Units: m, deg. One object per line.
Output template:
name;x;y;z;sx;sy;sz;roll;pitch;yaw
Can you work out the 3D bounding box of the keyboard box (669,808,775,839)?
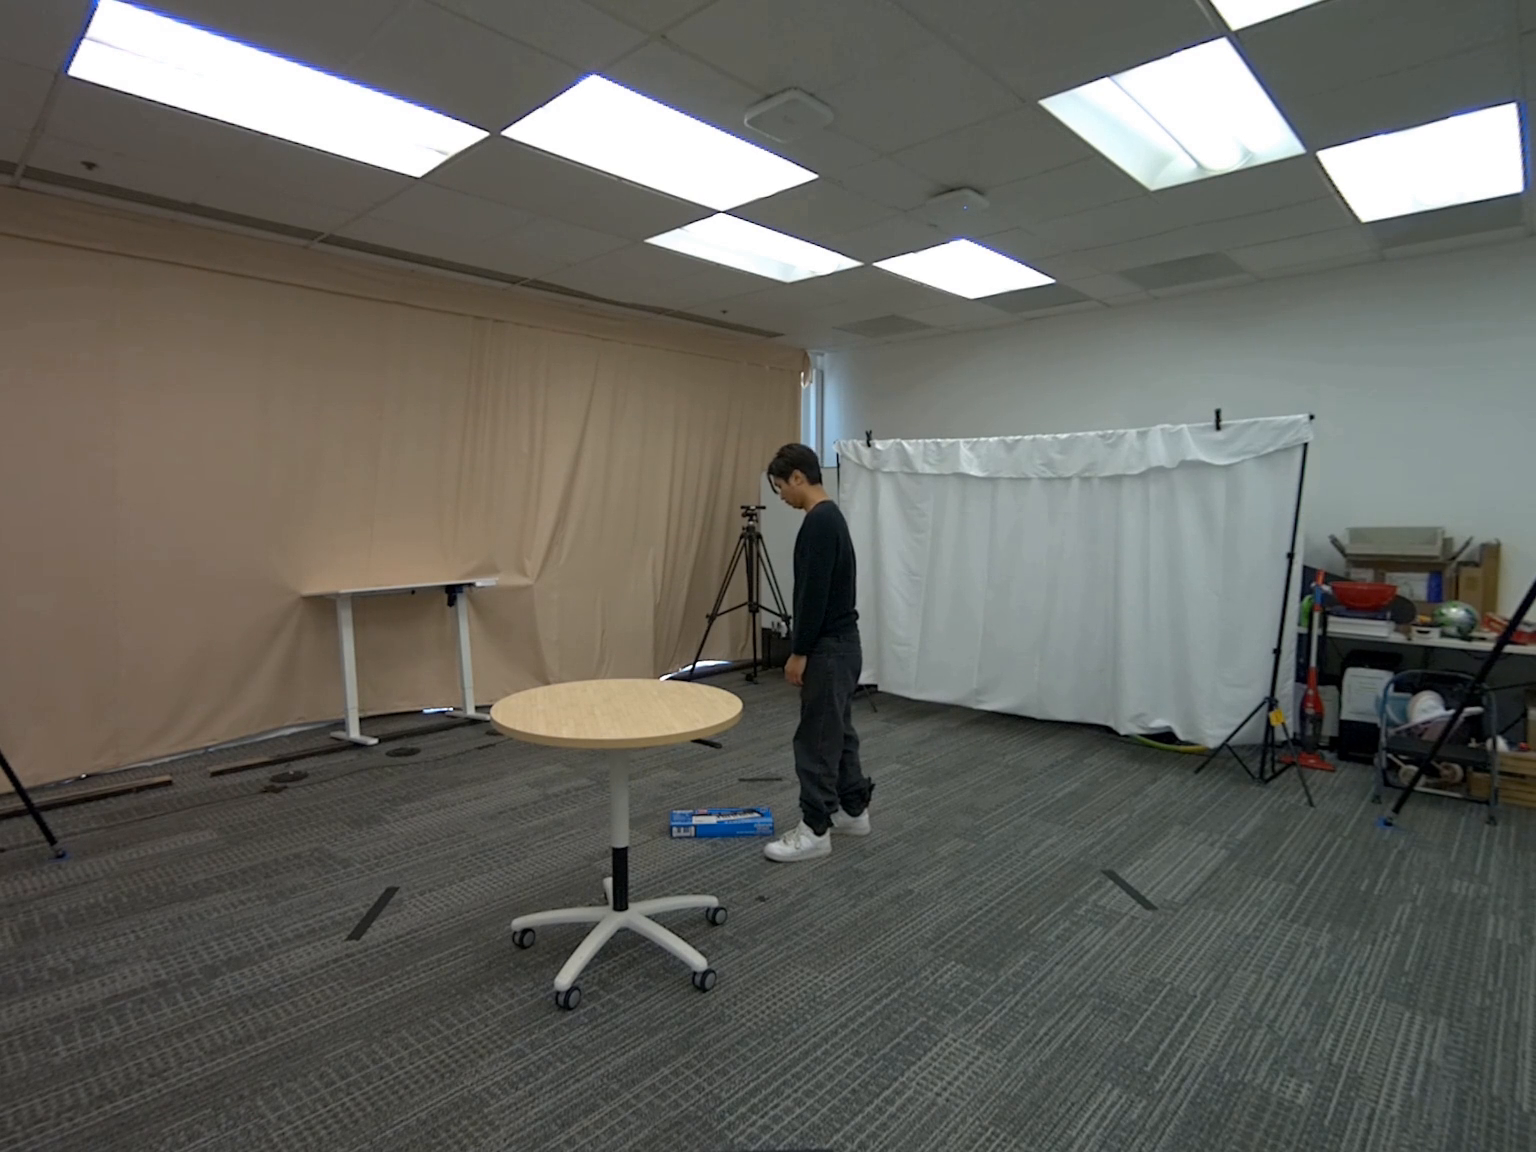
keyboard box;-0.201;1.064;3.627;0.435;0.059;0.177;-1;4;-4
